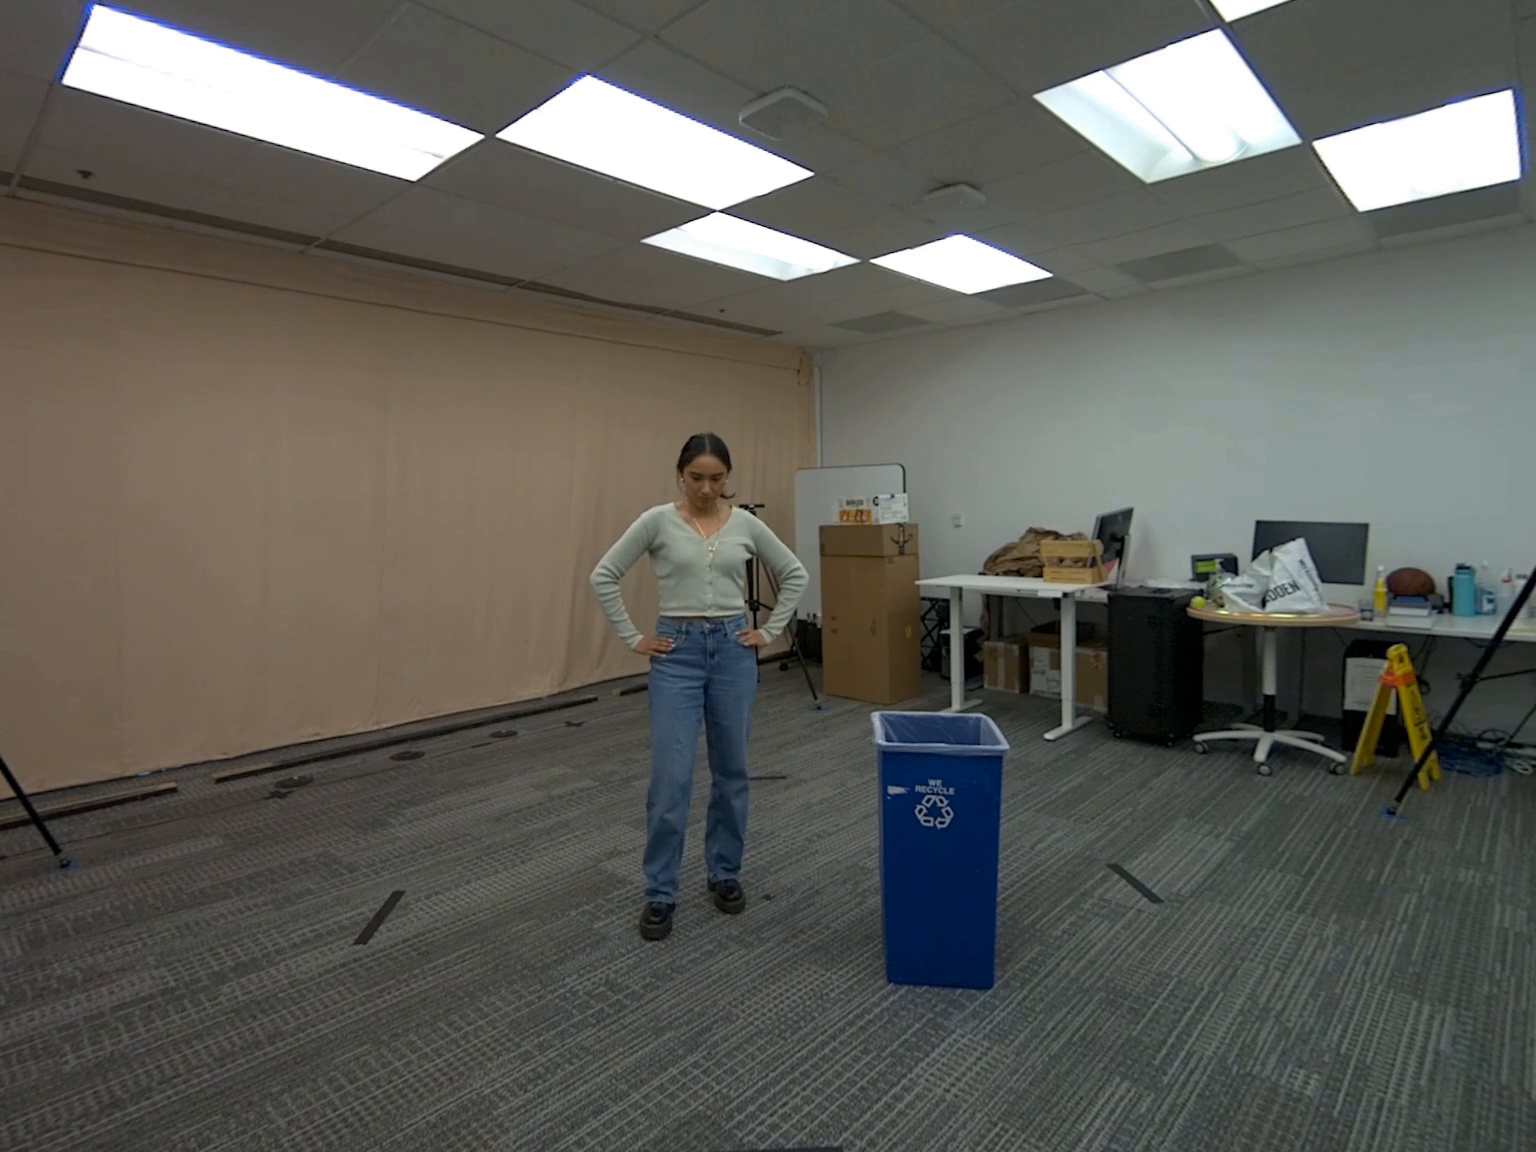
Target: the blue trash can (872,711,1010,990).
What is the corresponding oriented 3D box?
[{"bbox_3d":[0.517,0.813,2.527,0.381,0.712,0.372,0,3,6],"label":"blue trash can"}]
